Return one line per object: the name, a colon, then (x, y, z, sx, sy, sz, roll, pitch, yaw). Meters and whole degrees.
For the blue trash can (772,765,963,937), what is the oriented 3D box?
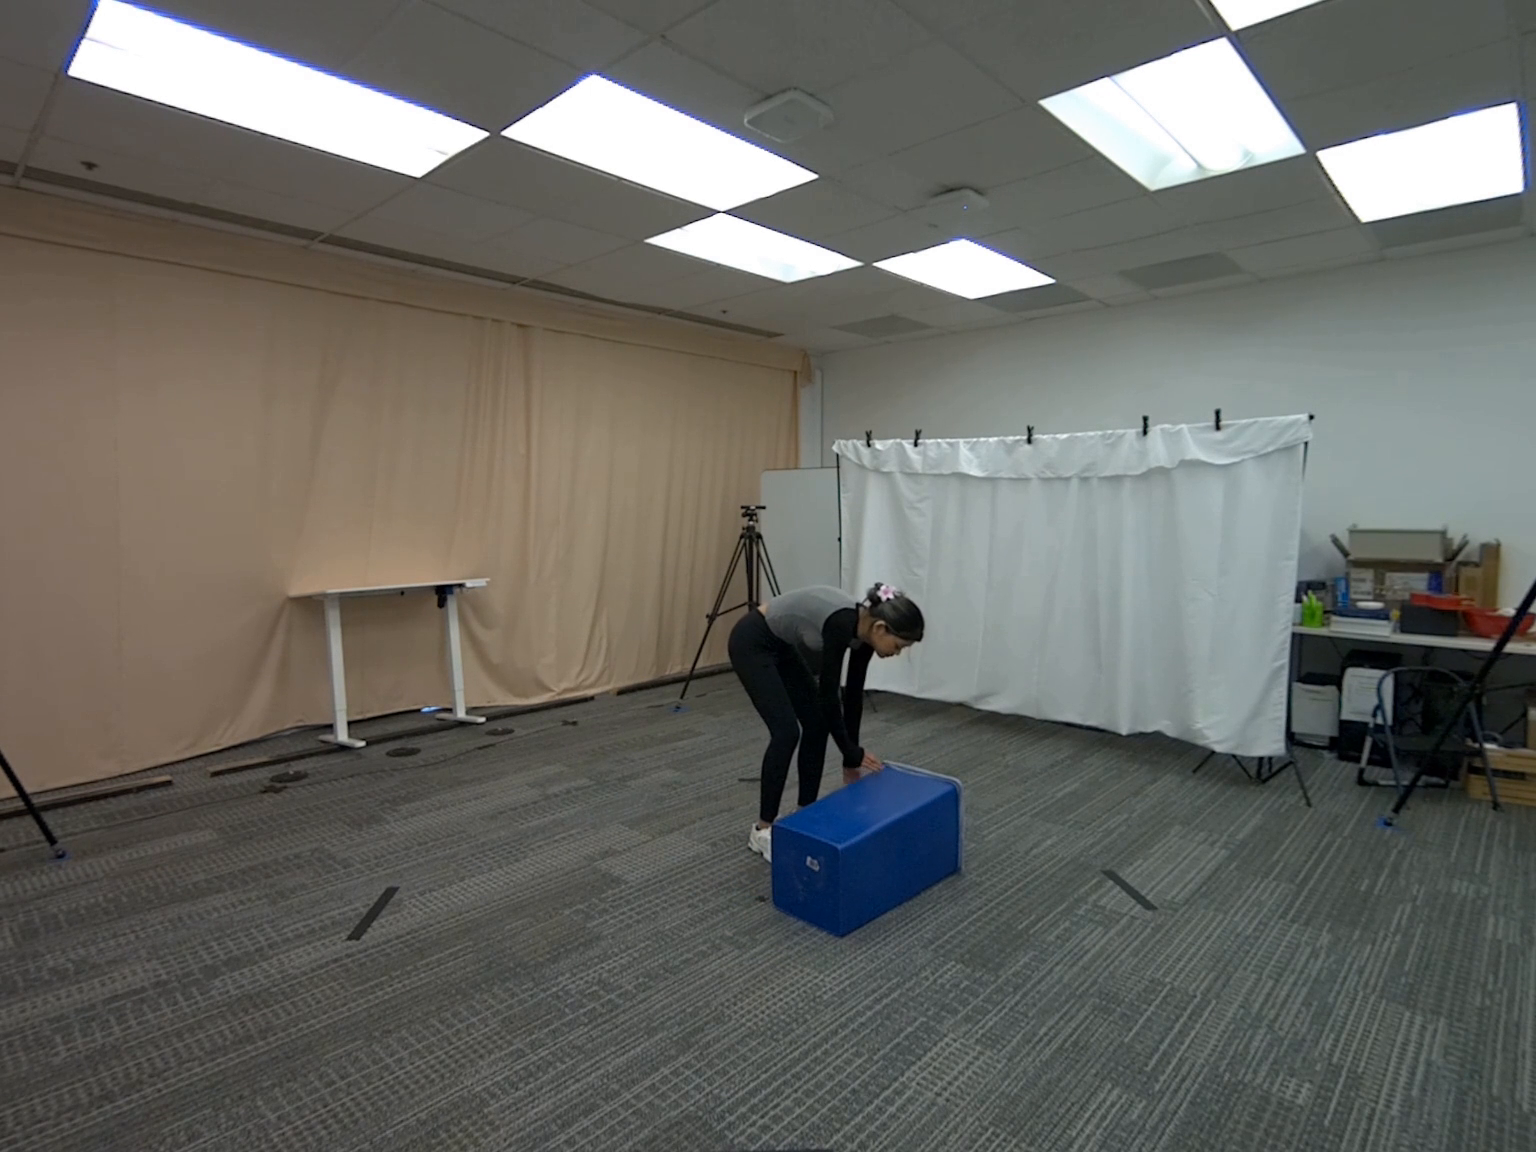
blue trash can: (0.372, 0.964, 3.037, 0.391, 0.373, 0.692, 4, 8, 43)
